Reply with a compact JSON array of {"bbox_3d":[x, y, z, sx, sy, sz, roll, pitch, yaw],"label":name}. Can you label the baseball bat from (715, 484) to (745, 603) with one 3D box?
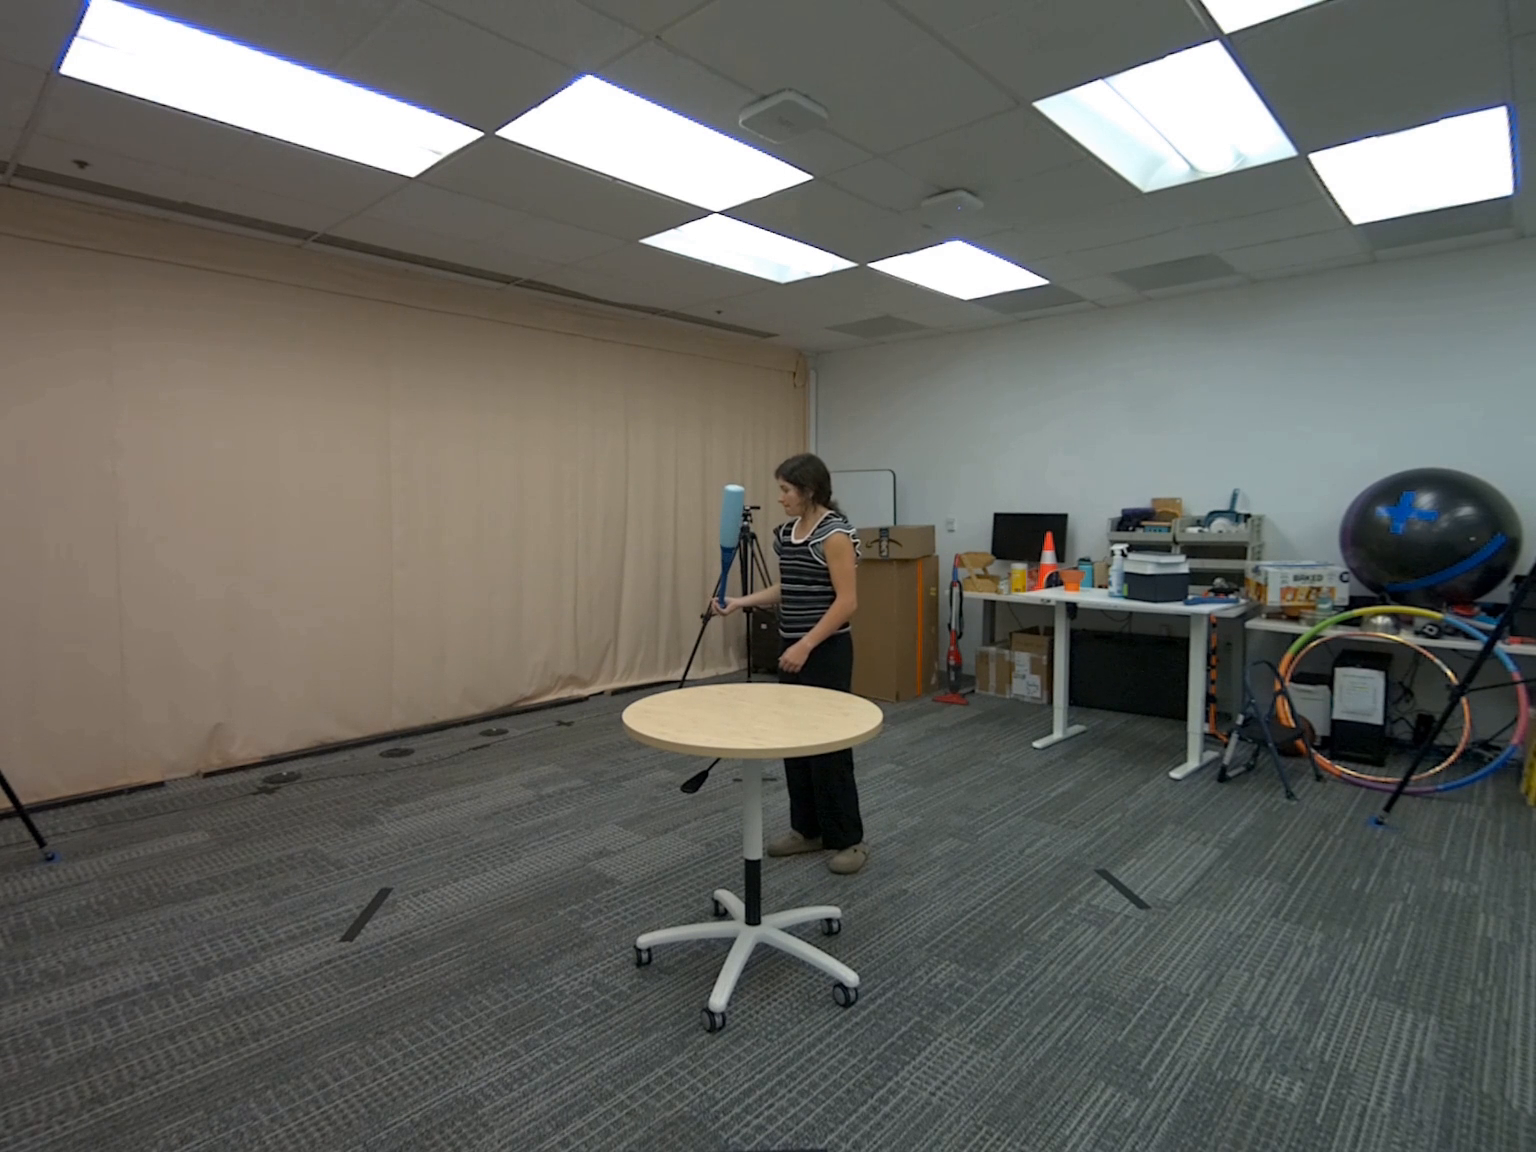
[{"bbox_3d":[-0.157,-0.103,3.471,0.089,0.538,0.090,7,17,-4],"label":"baseball bat"}]
